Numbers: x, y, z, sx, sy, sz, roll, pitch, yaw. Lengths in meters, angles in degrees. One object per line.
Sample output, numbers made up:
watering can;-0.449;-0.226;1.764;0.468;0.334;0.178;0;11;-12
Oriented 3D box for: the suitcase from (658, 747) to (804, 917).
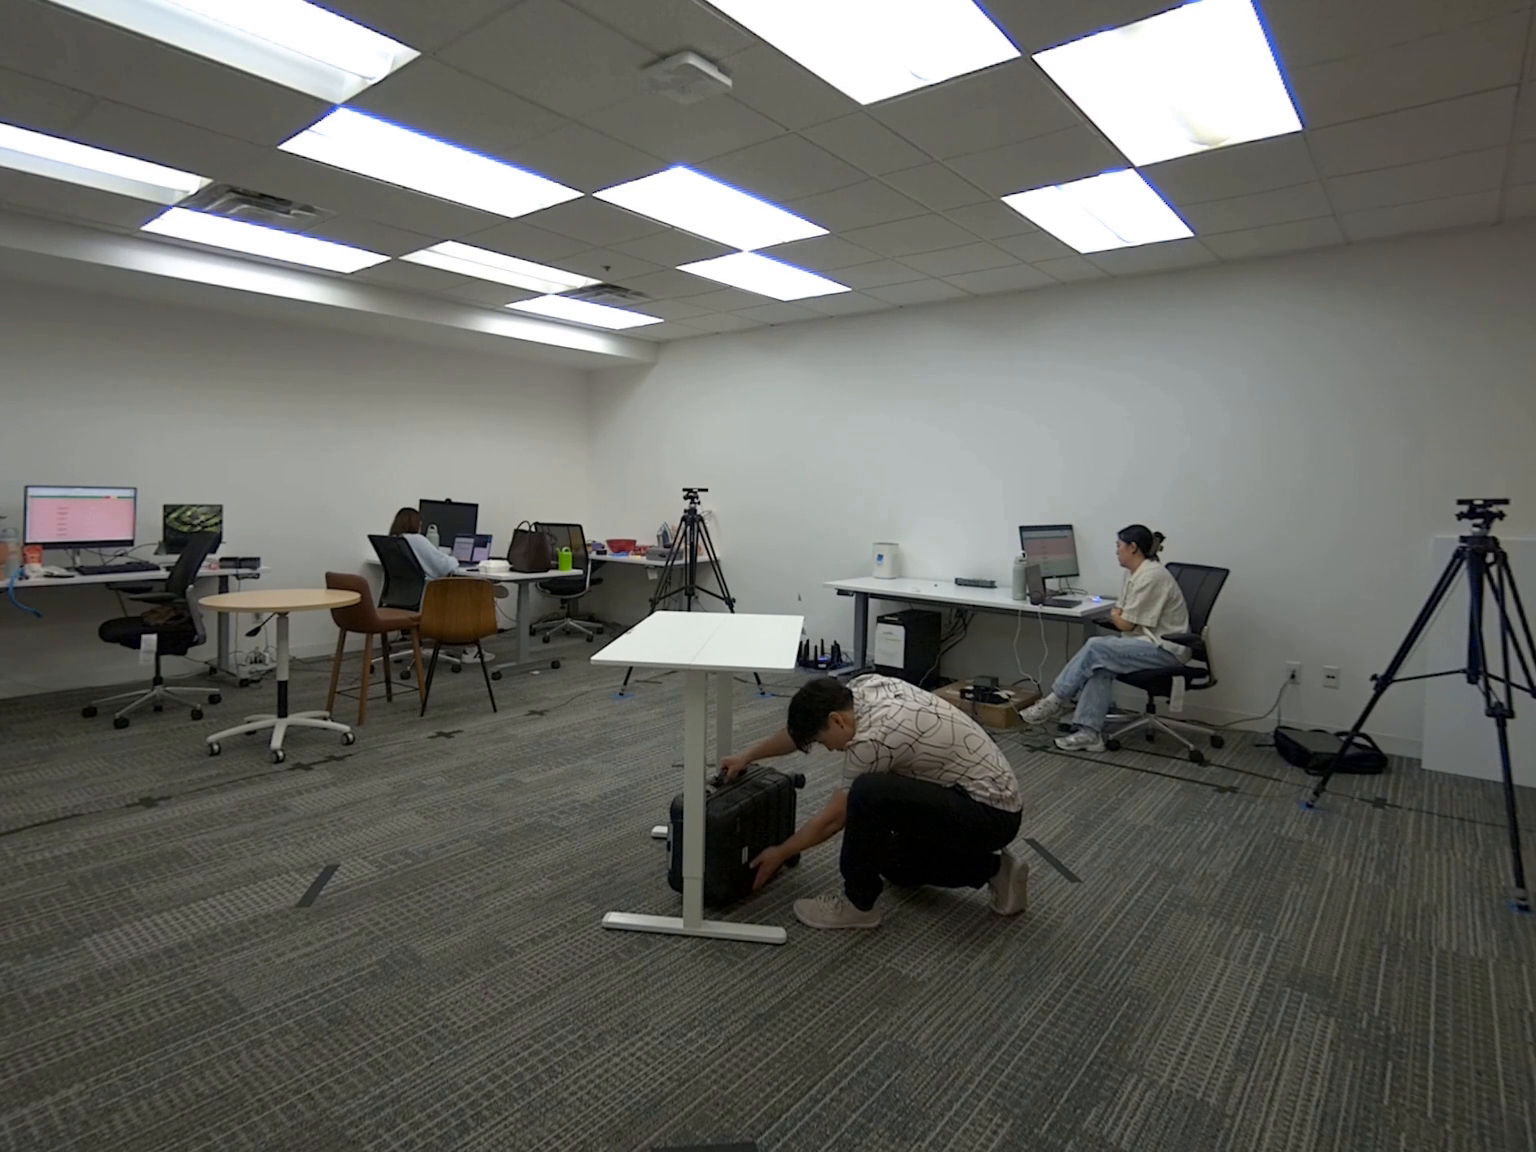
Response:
suitcase;-0.119;0.883;3.001;0.256;0.374;0.534;4;5;32
